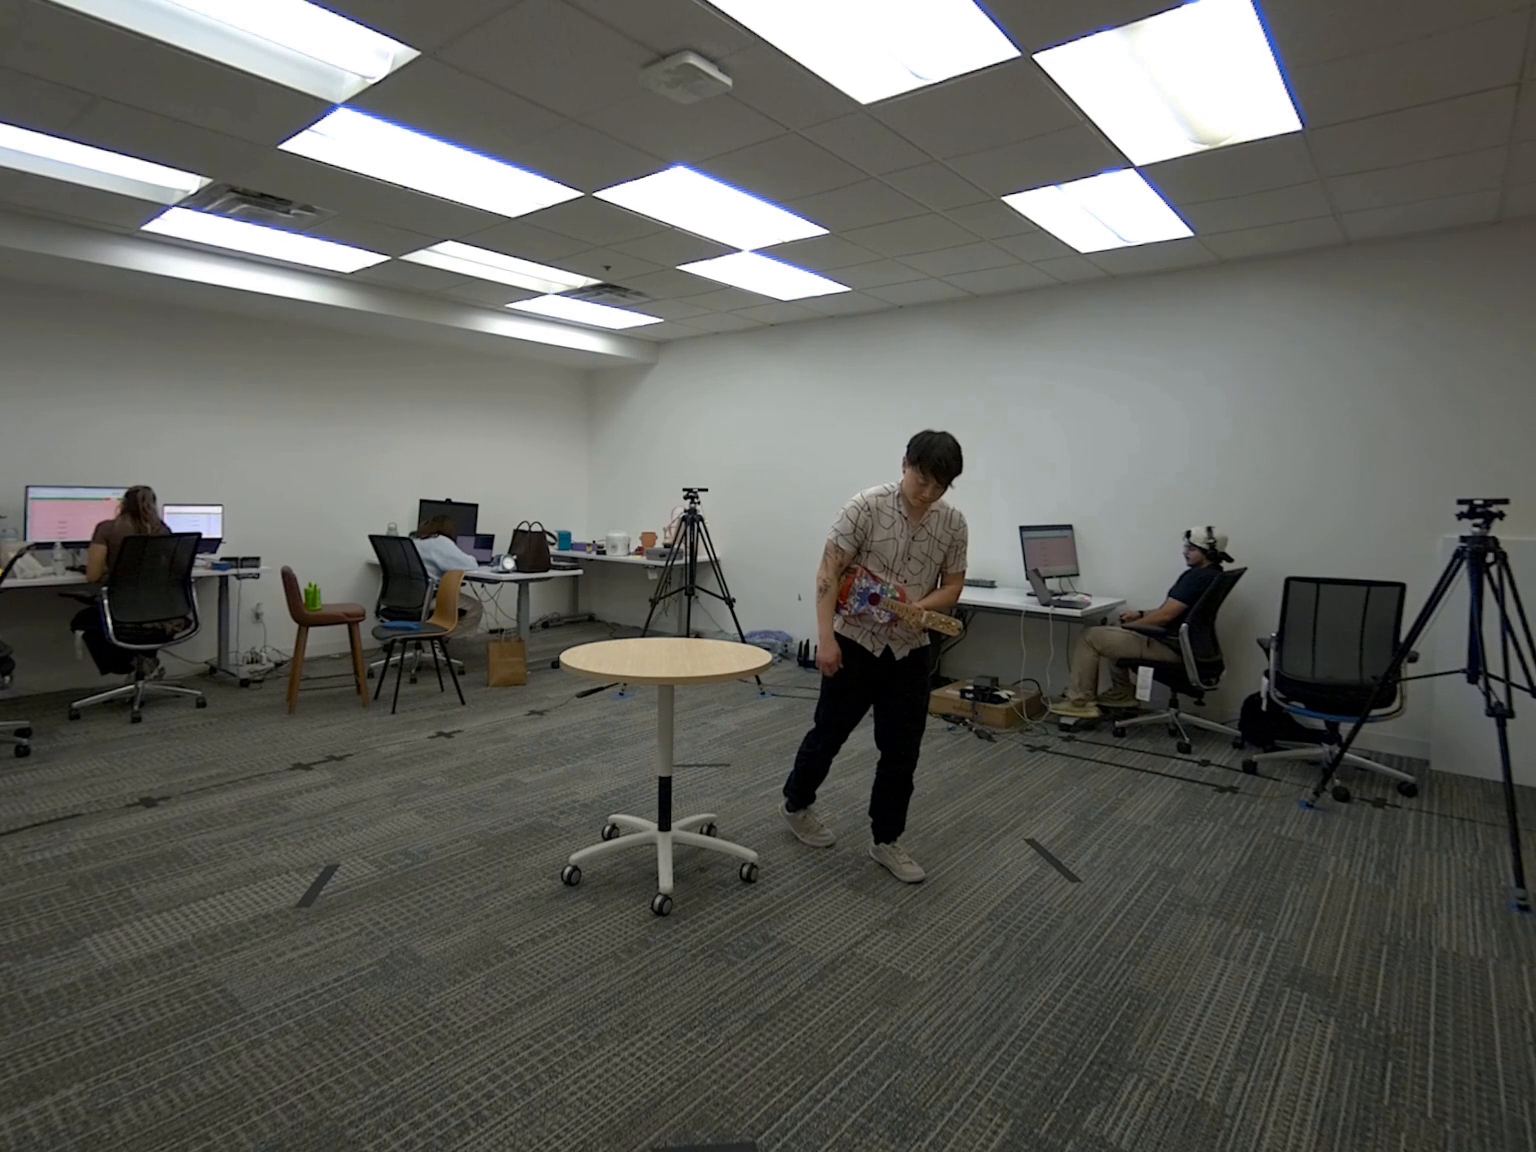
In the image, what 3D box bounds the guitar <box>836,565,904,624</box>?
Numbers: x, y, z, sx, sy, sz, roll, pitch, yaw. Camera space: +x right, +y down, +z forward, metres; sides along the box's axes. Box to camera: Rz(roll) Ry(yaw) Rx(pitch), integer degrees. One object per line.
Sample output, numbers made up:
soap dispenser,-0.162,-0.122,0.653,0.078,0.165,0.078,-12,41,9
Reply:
guitar,0.429,0.126,2.969,0.518,0.192,0.068,30,8,35
